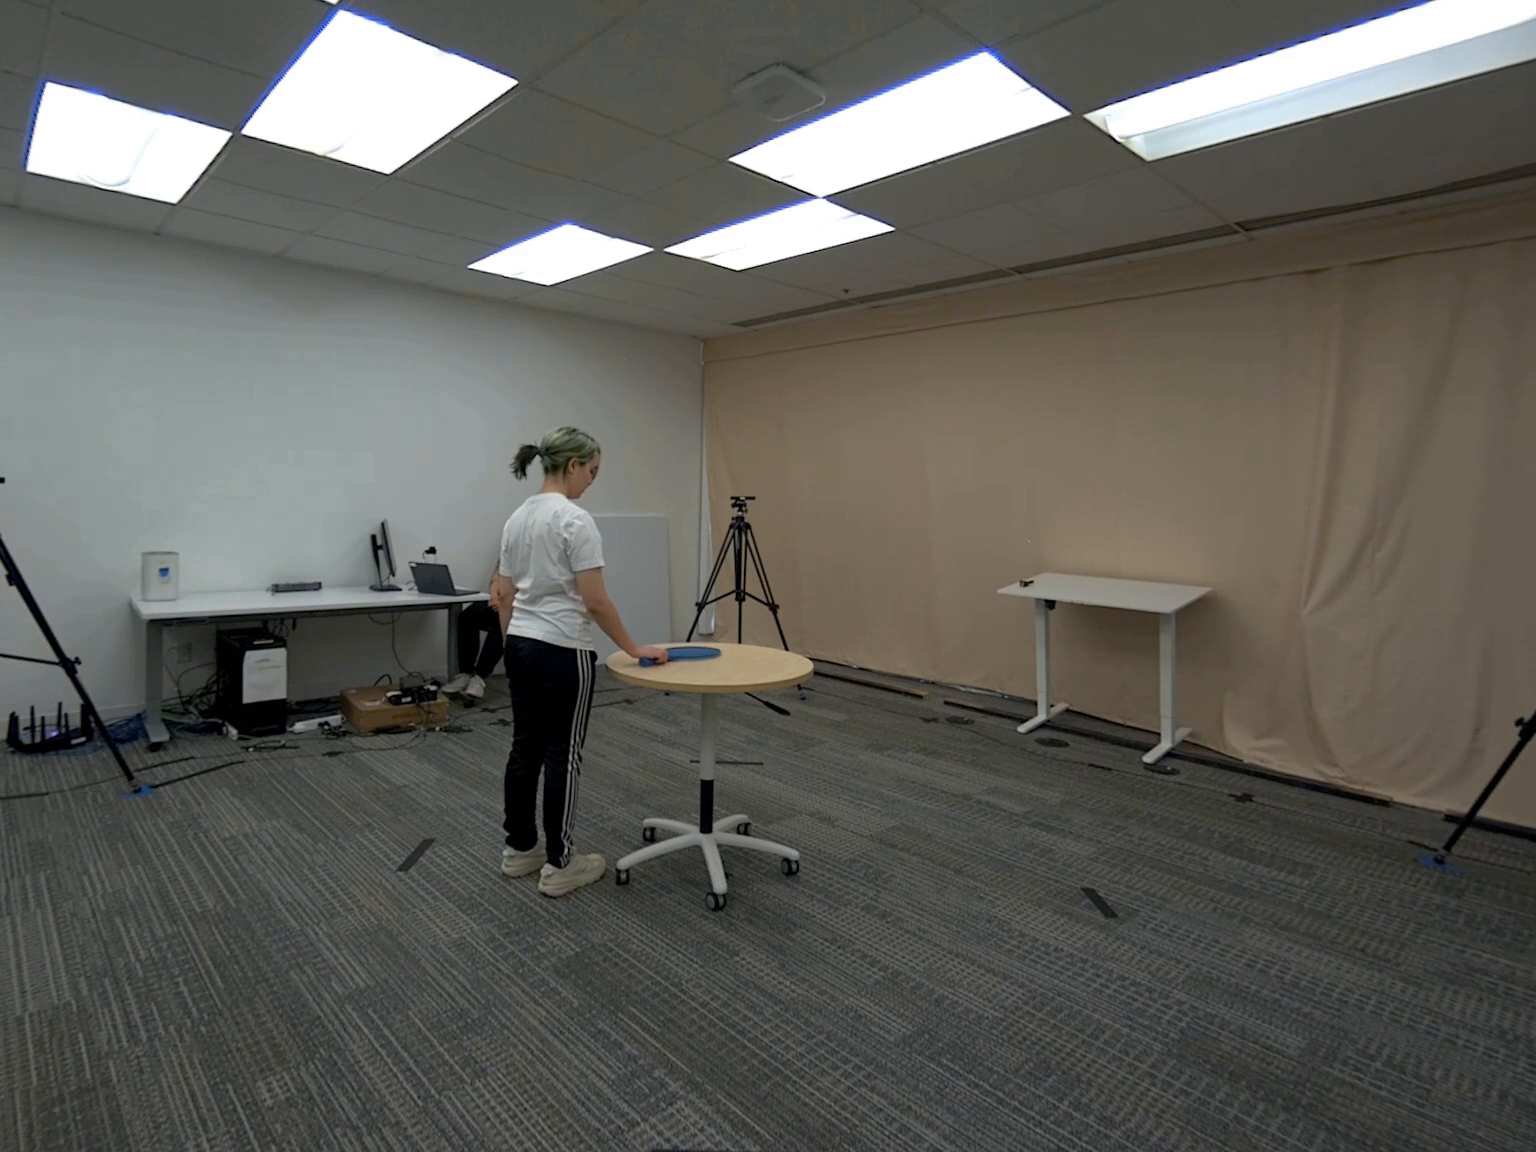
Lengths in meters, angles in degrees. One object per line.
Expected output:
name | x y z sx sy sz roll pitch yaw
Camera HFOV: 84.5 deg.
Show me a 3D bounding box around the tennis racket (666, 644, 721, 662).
tennis racket | -0.346 0.302 3.160 0.218 0.032 0.424 5 5 29
